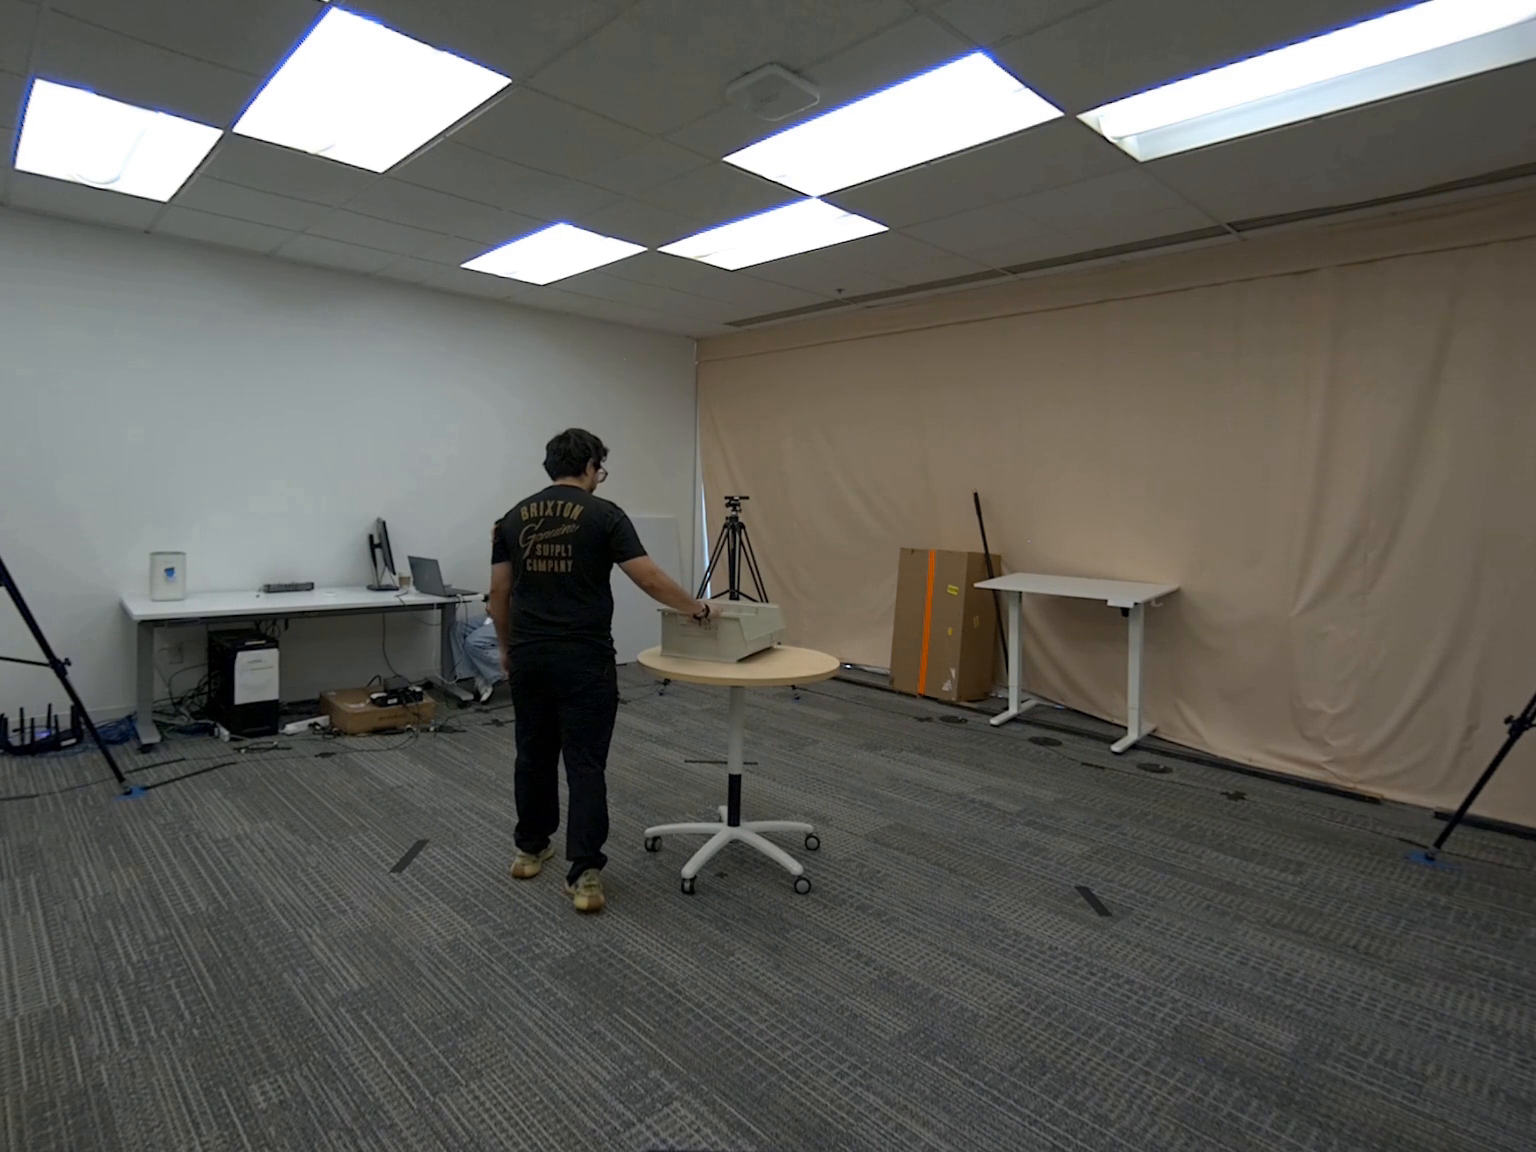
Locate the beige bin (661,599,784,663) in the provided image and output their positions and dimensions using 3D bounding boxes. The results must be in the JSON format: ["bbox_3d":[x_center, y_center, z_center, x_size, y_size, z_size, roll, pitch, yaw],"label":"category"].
[{"bbox_3d":[-0.173,0.216,3.317,0.384,0.188,0.416,2,5,21],"label":"beige bin"}]
